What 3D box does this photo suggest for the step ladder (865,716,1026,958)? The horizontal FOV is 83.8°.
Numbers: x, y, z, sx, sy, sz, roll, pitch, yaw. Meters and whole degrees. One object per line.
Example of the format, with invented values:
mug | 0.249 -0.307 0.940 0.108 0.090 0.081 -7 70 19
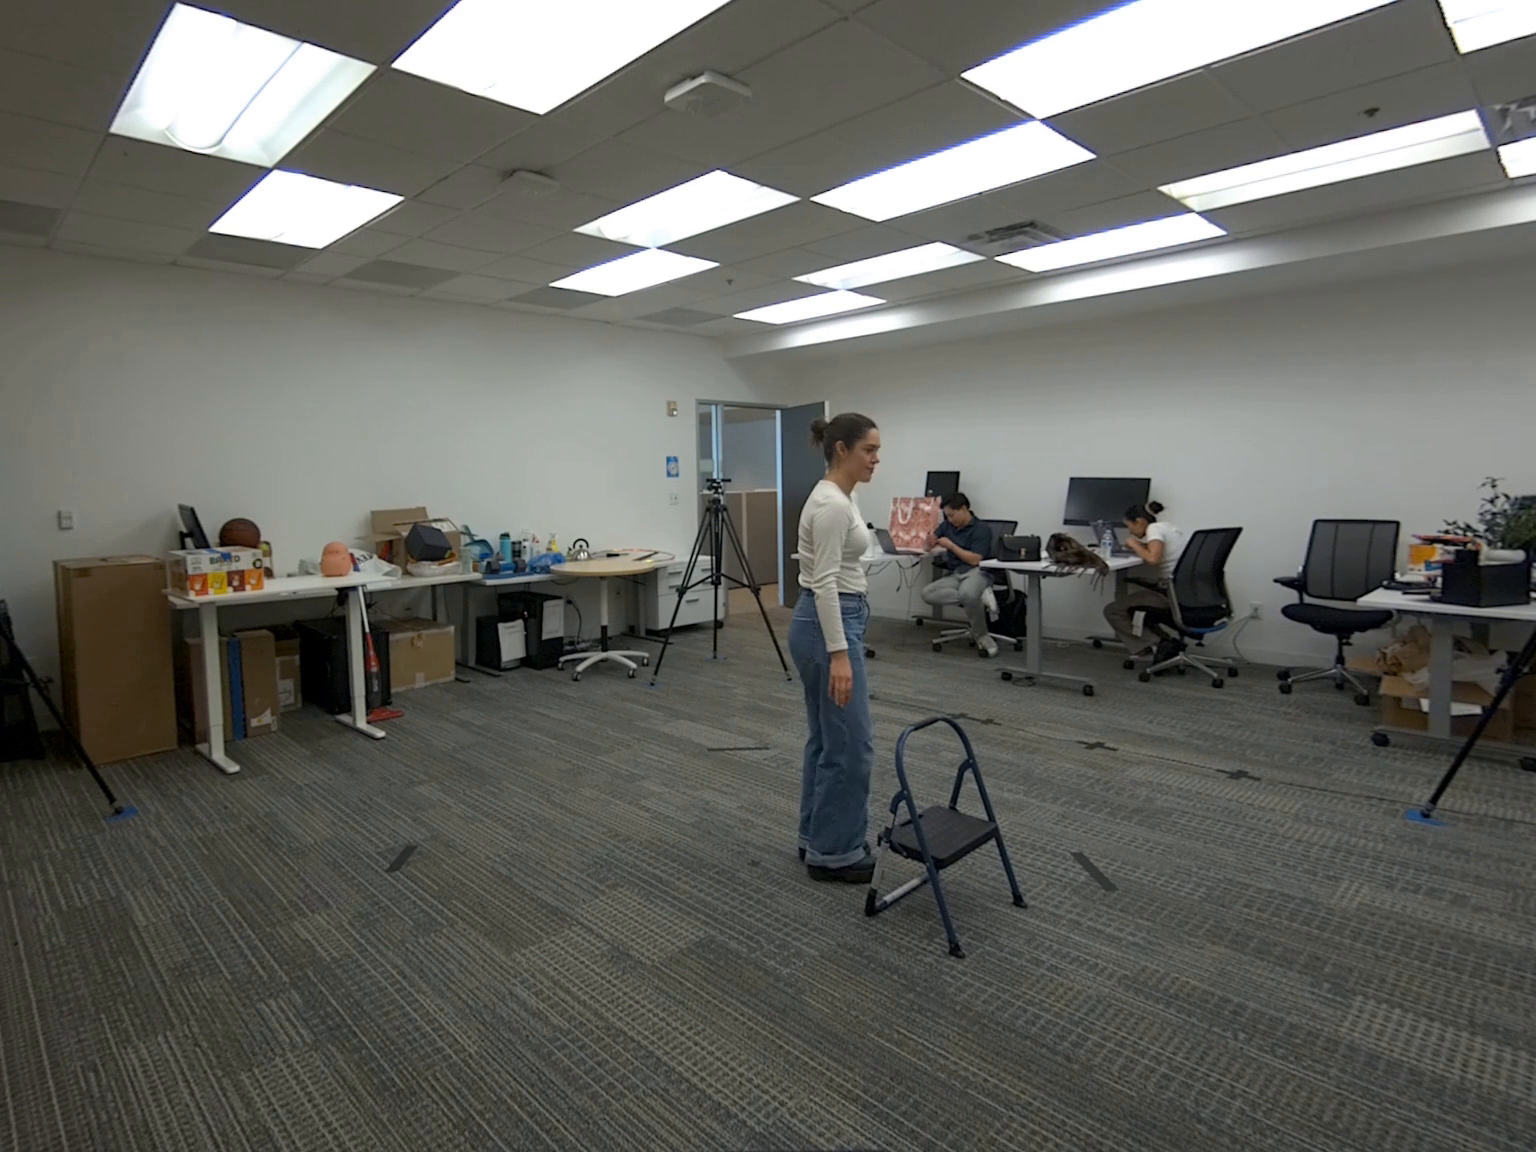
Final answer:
step ladder | 0.570 0.778 2.720 0.360 0.604 0.419 4 6 44
